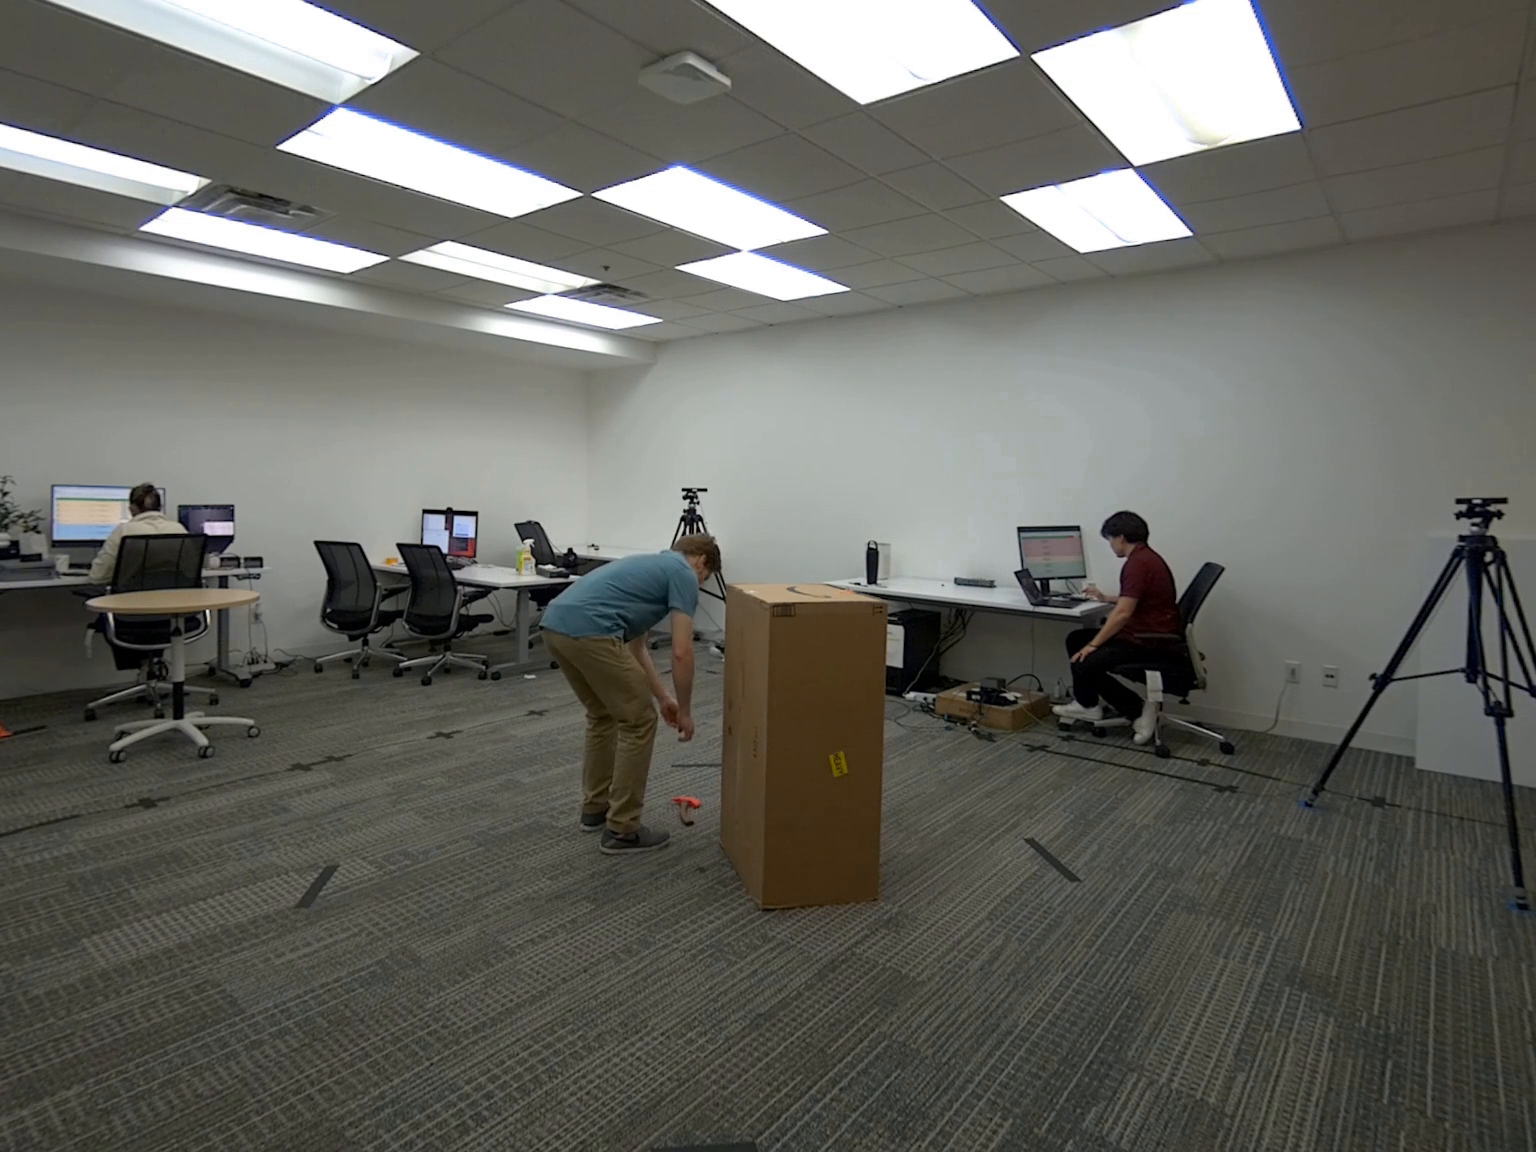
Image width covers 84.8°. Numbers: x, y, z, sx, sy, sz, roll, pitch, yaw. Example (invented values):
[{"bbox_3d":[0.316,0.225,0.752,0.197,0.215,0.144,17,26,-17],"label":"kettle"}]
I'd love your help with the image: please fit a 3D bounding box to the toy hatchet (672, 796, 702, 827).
[{"bbox_3d":[-0.338,1.003,3.650,0.129,0.029,0.277,2,8,-18],"label":"toy hatchet"}]
